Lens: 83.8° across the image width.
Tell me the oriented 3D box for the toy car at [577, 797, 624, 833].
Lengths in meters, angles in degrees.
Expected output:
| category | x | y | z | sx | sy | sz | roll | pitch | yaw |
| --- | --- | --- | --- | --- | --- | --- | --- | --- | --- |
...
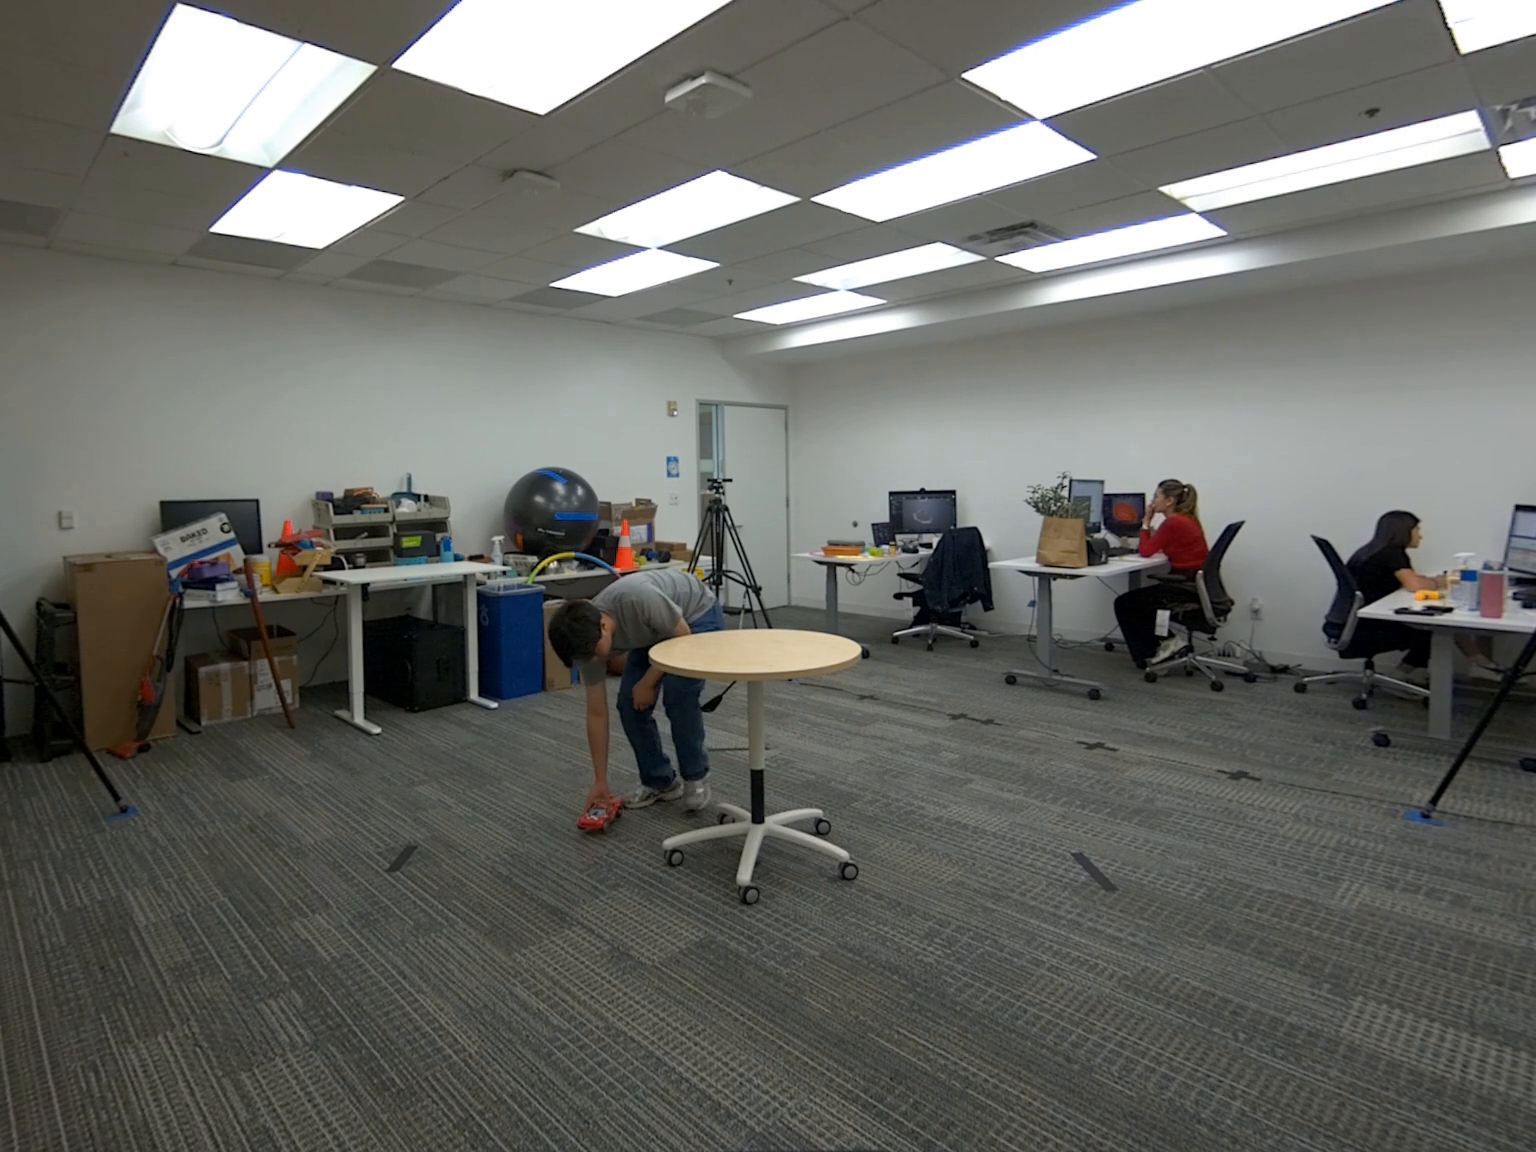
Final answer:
| category | x | y | z | sx | sy | sz | roll | pitch | yaw |
| --- | --- | --- | --- | --- | --- | --- | --- | --- | --- |
| toy car | -0.668 | 0.971 | 3.478 | 0.132 | 0.082 | 0.255 | -1 | 17 | 12 |
